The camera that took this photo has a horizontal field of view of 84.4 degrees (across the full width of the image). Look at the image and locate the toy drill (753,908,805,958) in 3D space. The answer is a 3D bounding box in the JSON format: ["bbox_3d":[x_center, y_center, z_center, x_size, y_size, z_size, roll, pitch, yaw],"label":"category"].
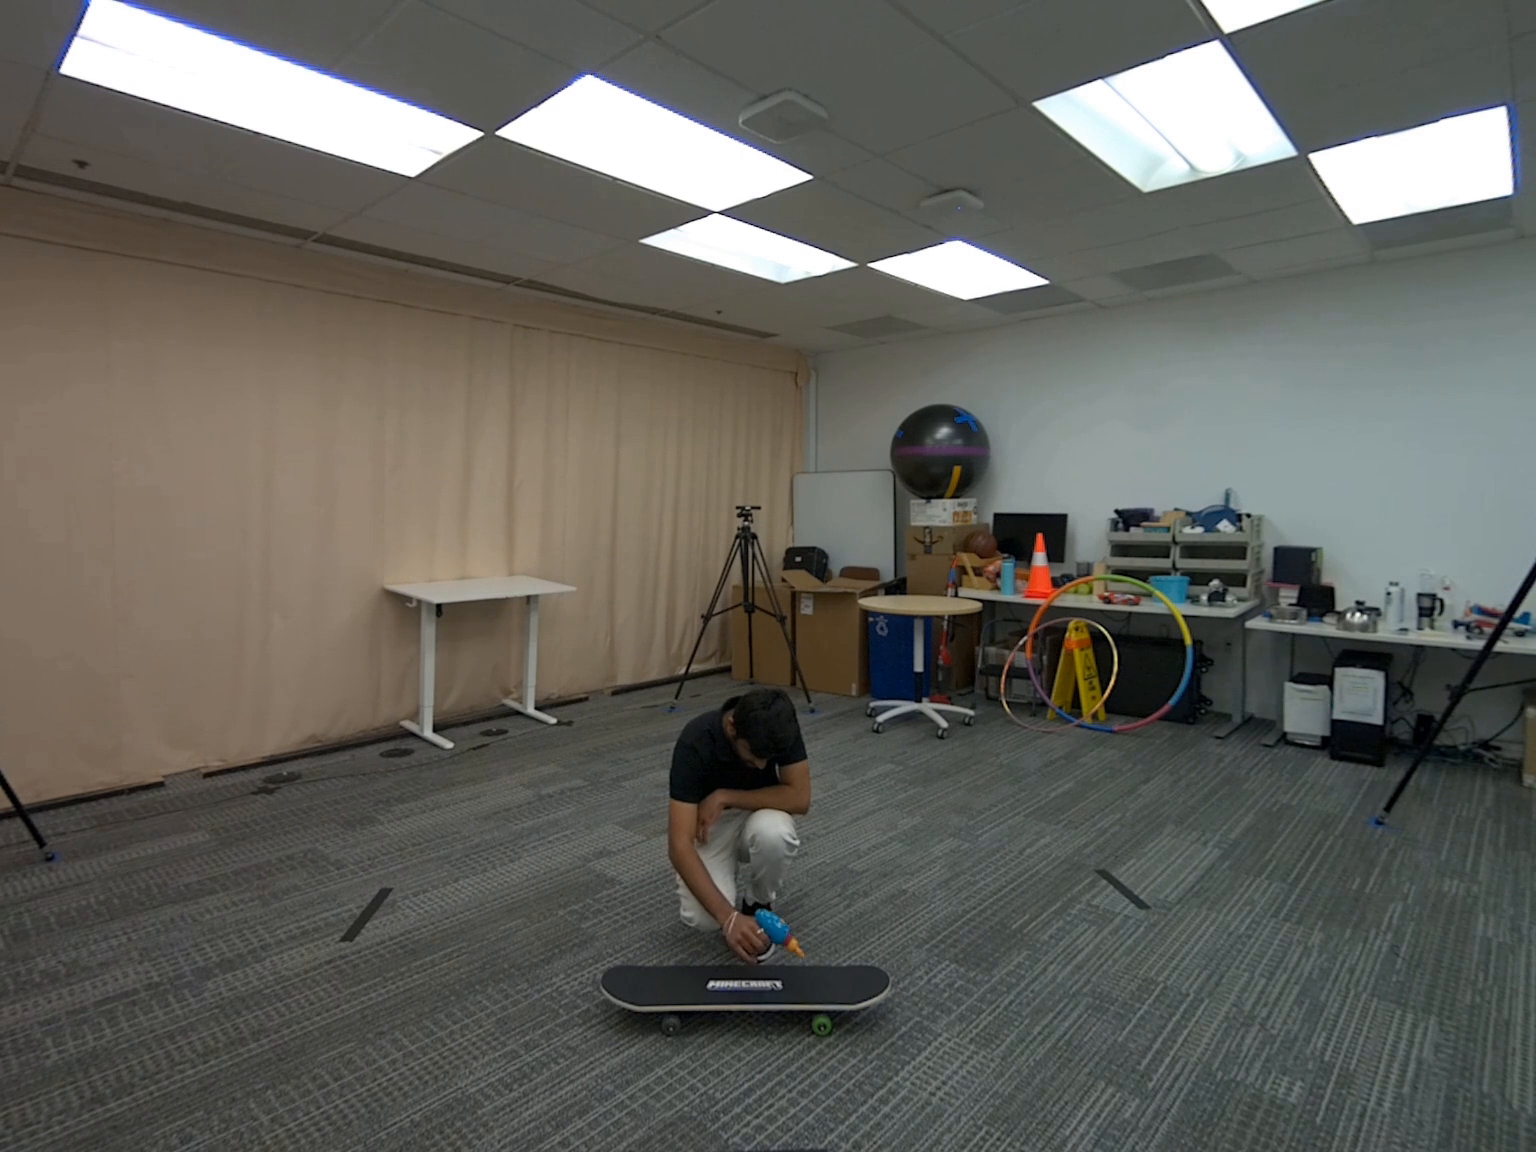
[{"bbox_3d":[0.011,0.981,2.261,0.172,0.146,0.060,38,11,10],"label":"toy drill"}]
